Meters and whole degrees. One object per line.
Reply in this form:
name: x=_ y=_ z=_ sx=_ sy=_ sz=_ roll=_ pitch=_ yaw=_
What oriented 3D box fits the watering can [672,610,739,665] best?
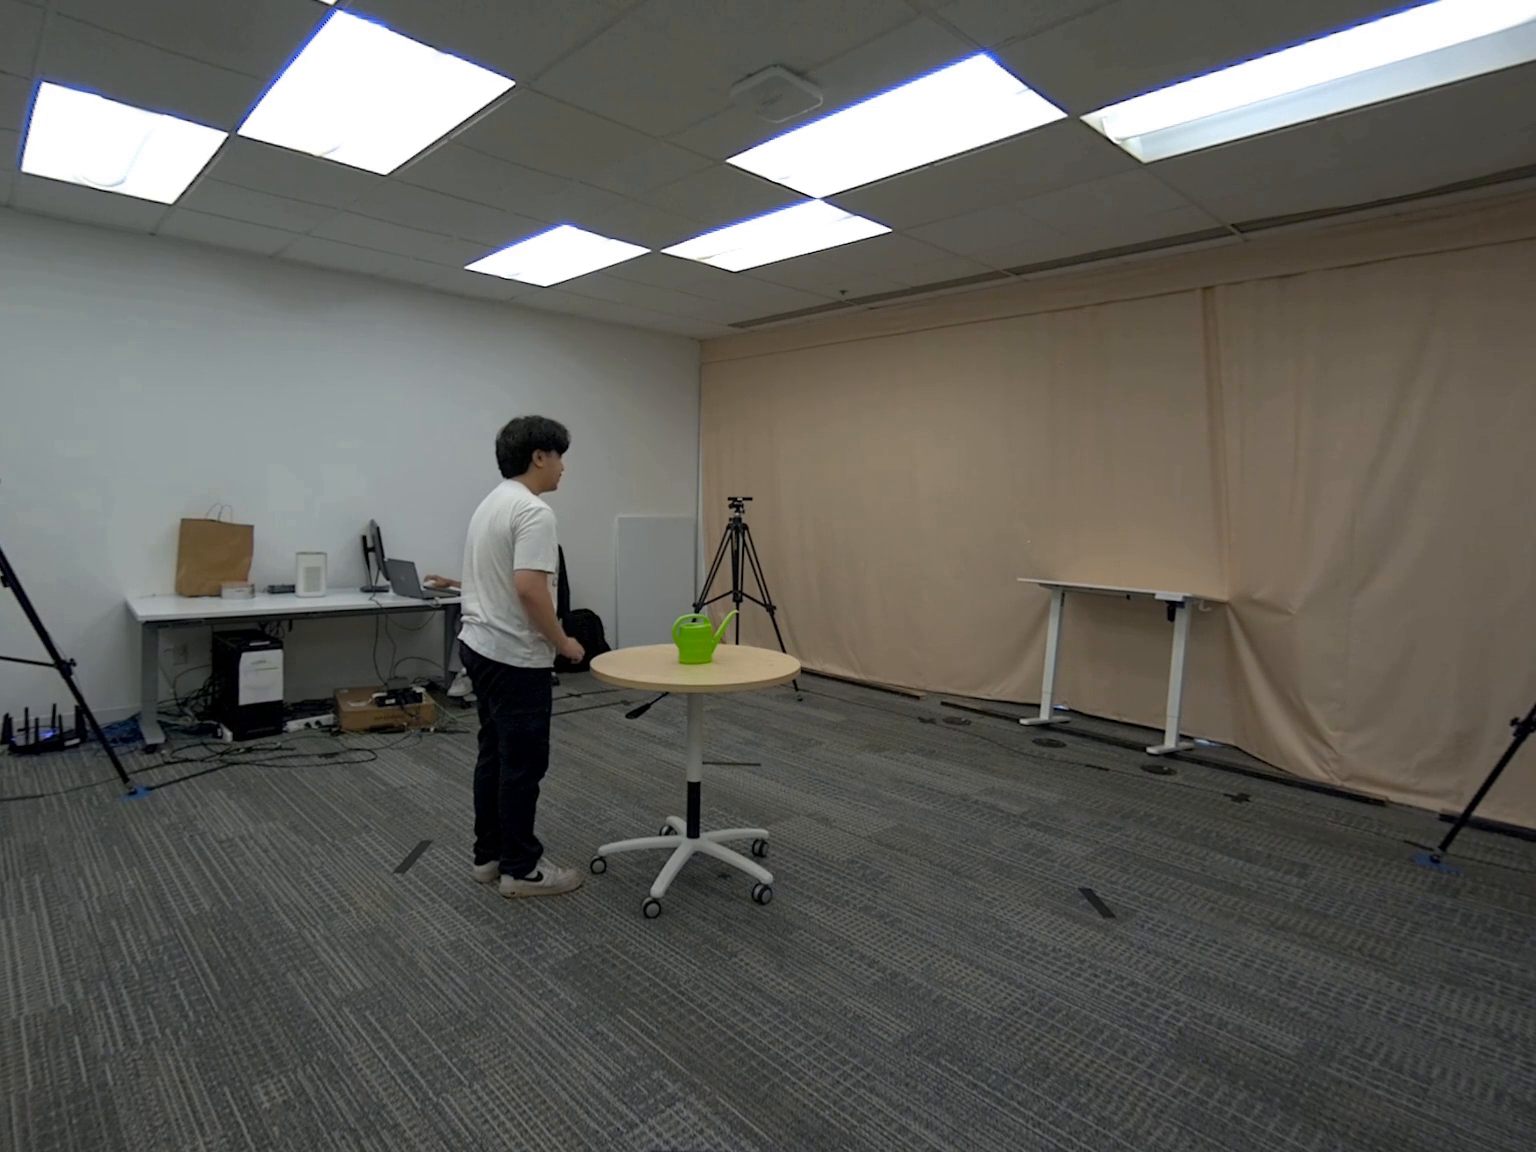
watering can: x=-0.237 y=0.227 z=3.078 sx=0.274 sy=0.176 sz=0.100 roll=-2 pitch=8 yaw=-18
